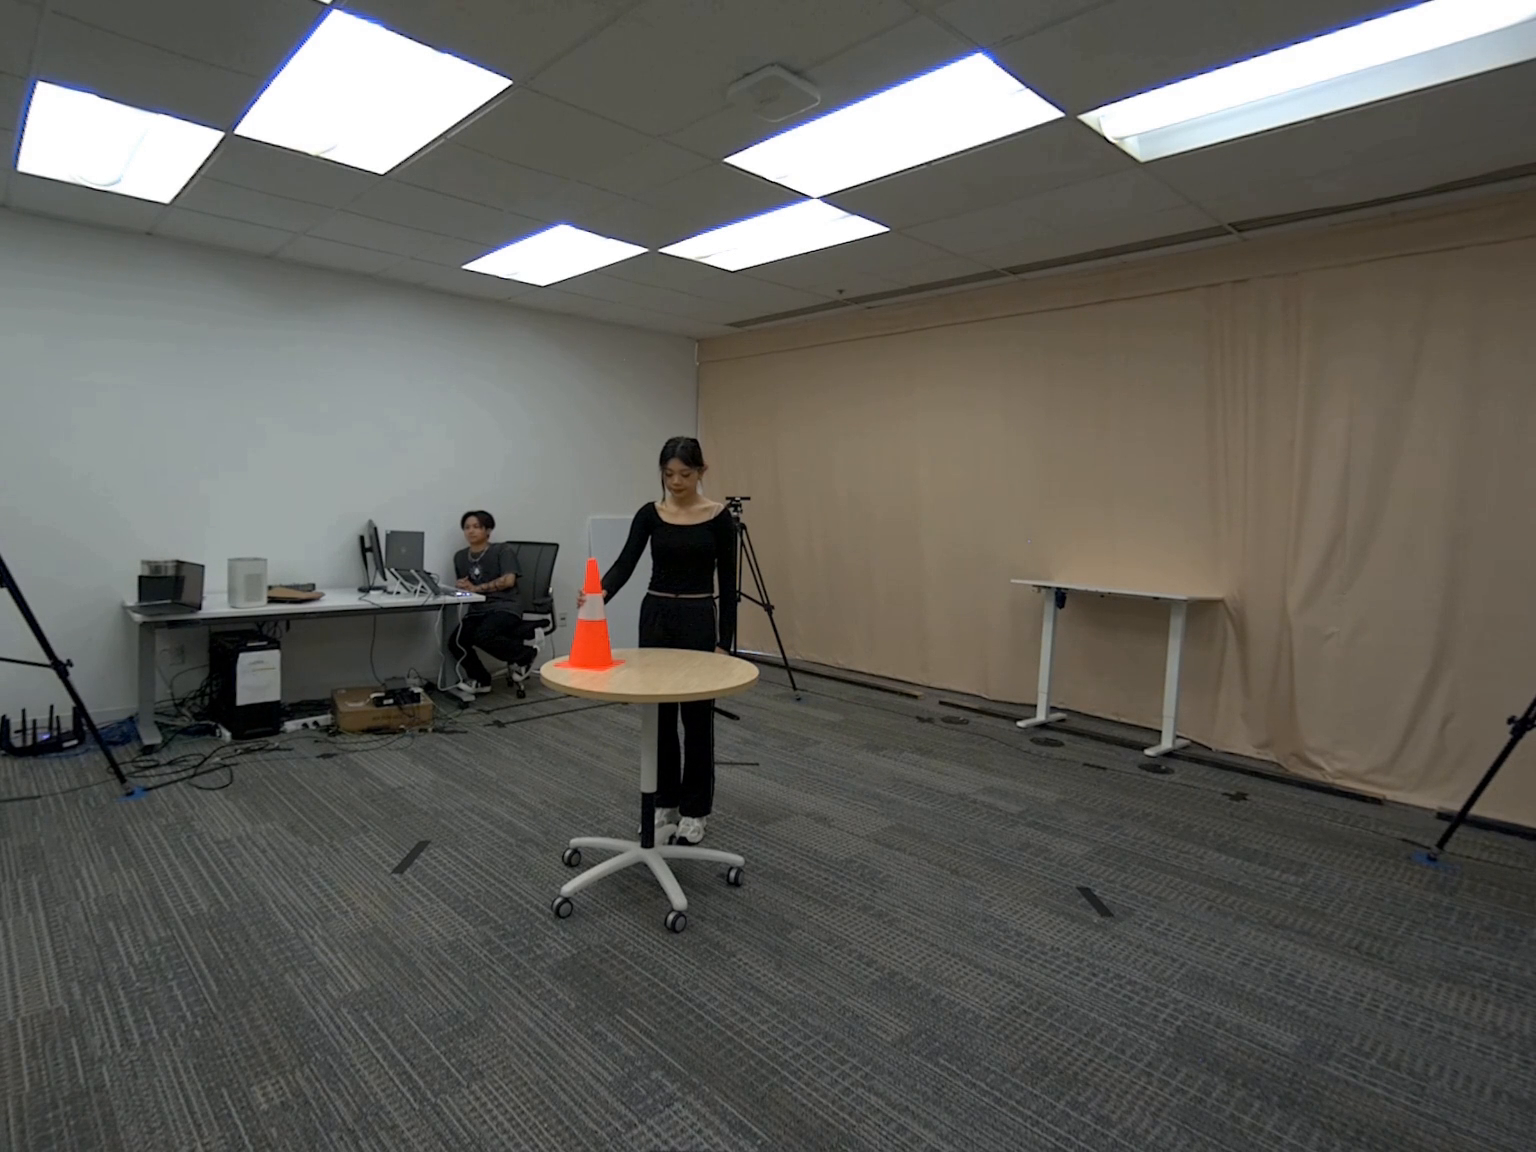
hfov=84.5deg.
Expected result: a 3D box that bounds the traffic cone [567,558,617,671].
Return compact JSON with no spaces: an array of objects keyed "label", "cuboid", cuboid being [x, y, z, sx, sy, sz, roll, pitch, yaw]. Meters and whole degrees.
[{"label":"traffic cone","cuboid":[-0.638,0.131,3.019,0.208,0.383,0.201,1,1,16]}]
